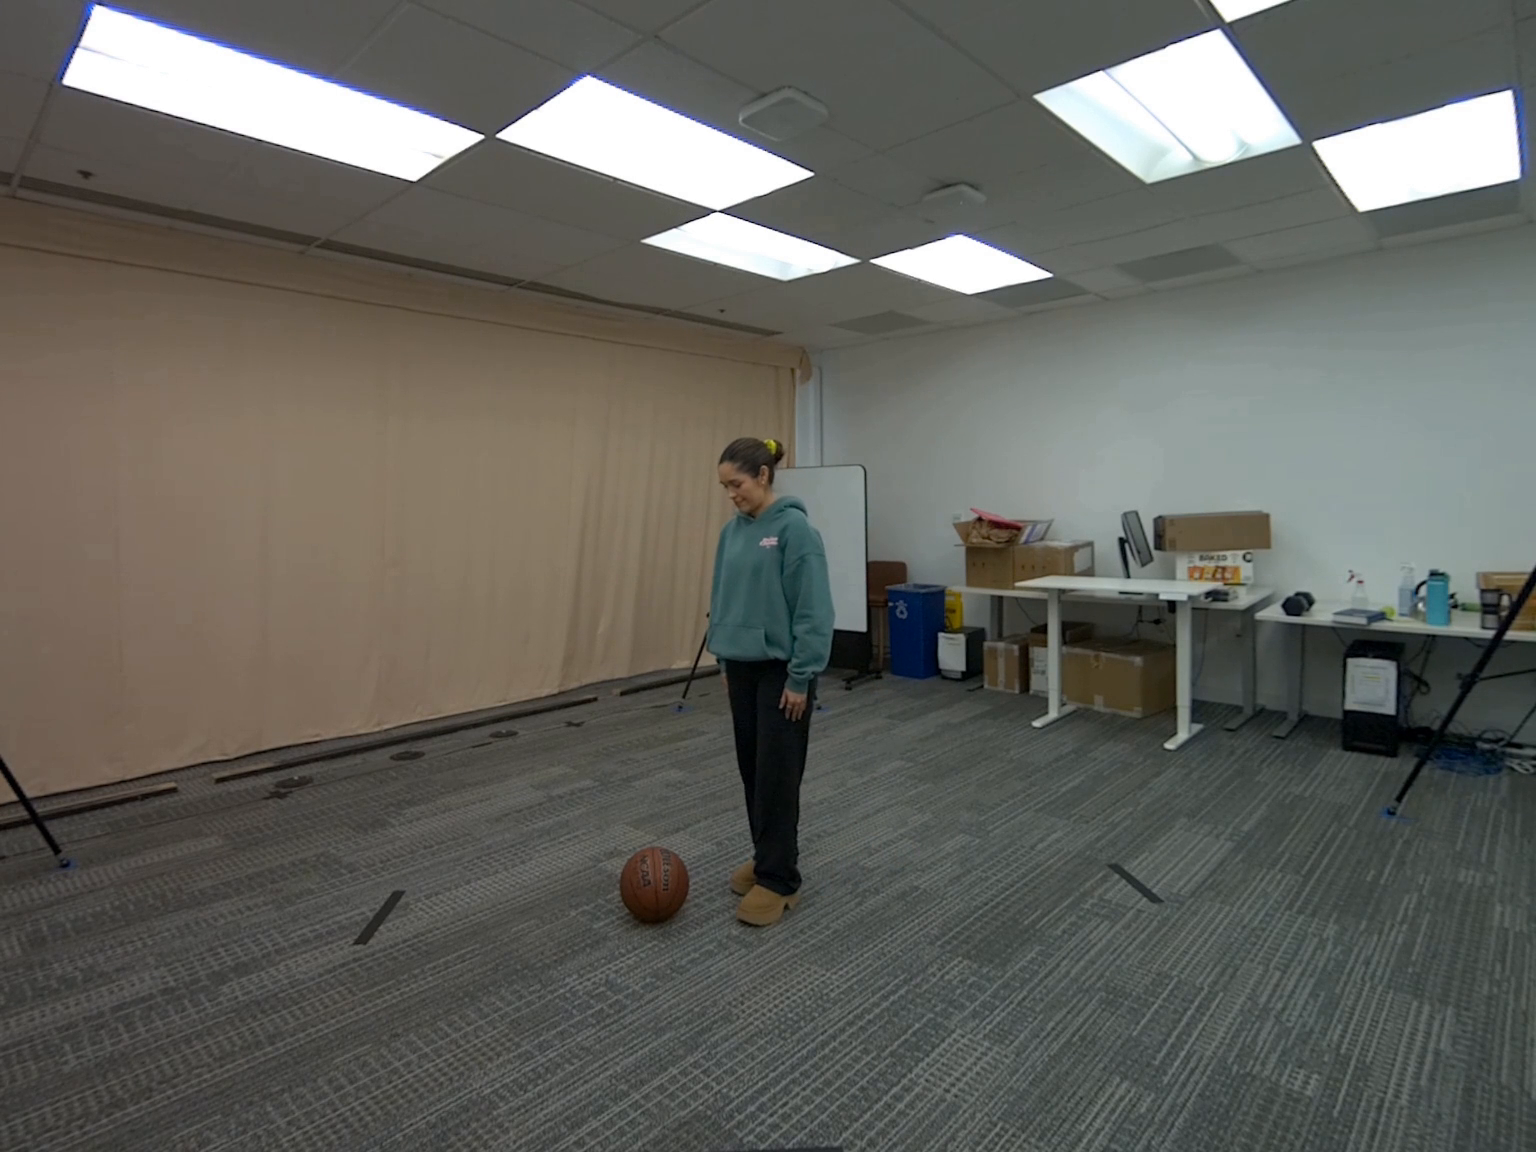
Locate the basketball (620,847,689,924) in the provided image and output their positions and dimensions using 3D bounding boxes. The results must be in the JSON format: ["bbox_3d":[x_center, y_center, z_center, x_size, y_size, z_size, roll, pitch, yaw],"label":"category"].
[{"bbox_3d":[-0.380,1.043,2.849,0.236,0.235,0.237,-1,4,-2],"label":"basketball"}]
